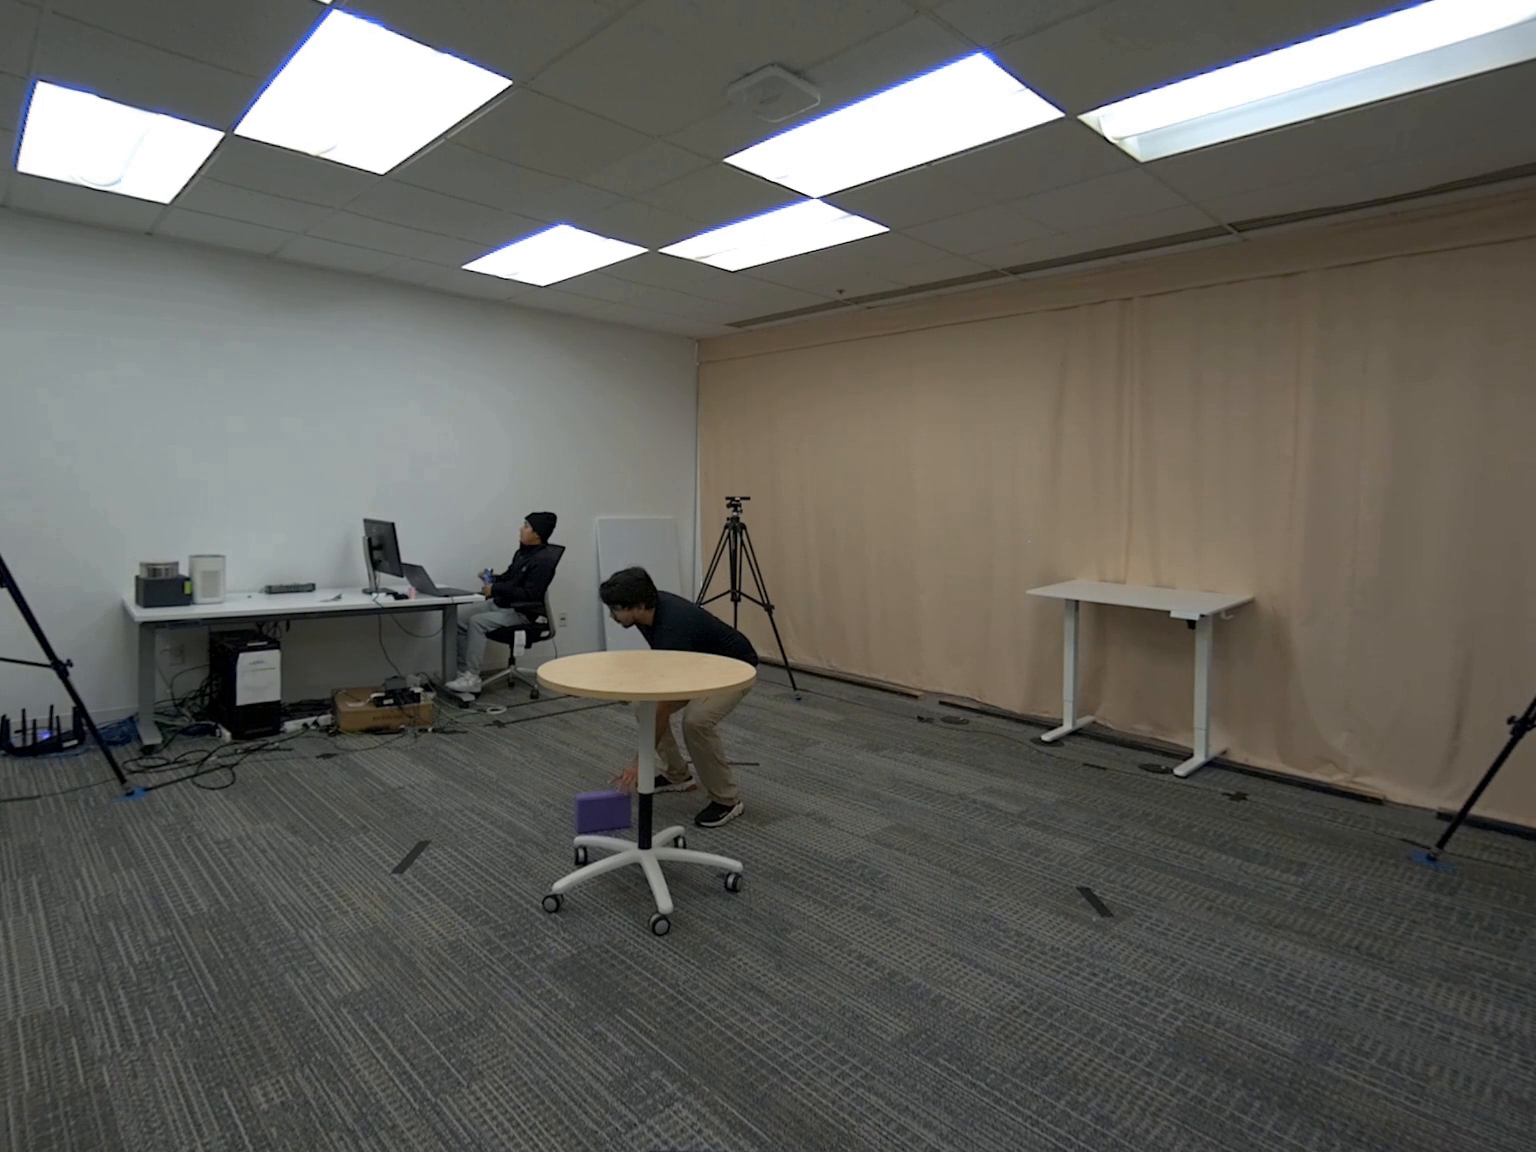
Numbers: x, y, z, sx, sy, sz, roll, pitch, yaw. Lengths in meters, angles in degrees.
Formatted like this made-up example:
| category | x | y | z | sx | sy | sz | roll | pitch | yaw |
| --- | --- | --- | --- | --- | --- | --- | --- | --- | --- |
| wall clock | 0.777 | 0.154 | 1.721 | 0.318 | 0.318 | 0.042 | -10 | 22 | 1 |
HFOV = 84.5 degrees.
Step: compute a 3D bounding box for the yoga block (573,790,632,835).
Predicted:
| category | x | y | z | sx | sy | sz | roll | pitch | yaw |
| --- | --- | --- | --- | --- | --- | --- | --- | --- | --- |
| yoga block | -0.702 | 0.980 | 3.525 | 0.226 | 0.148 | 0.078 | -1 | 6 | -21 |
